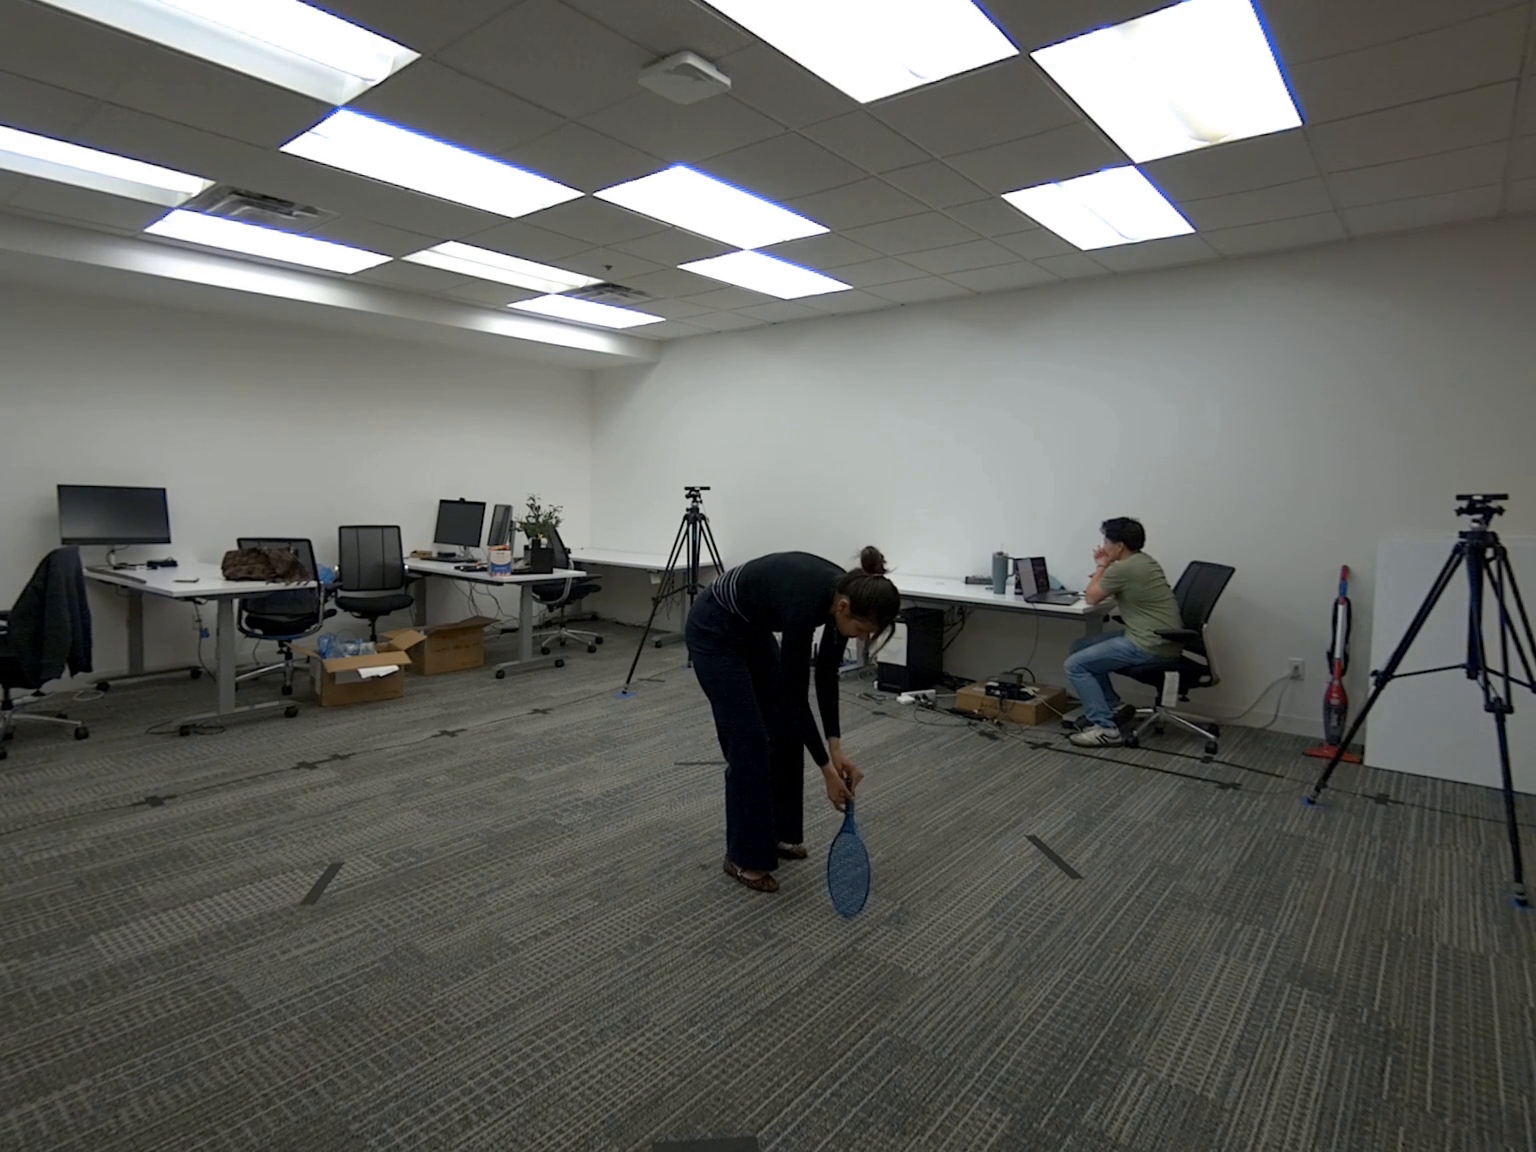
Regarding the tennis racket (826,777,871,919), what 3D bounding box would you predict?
[{"bbox_3d":[0.268,0.893,2.828,0.031,0.438,0.218,14,-16,-29],"label":"tennis racket"}]
